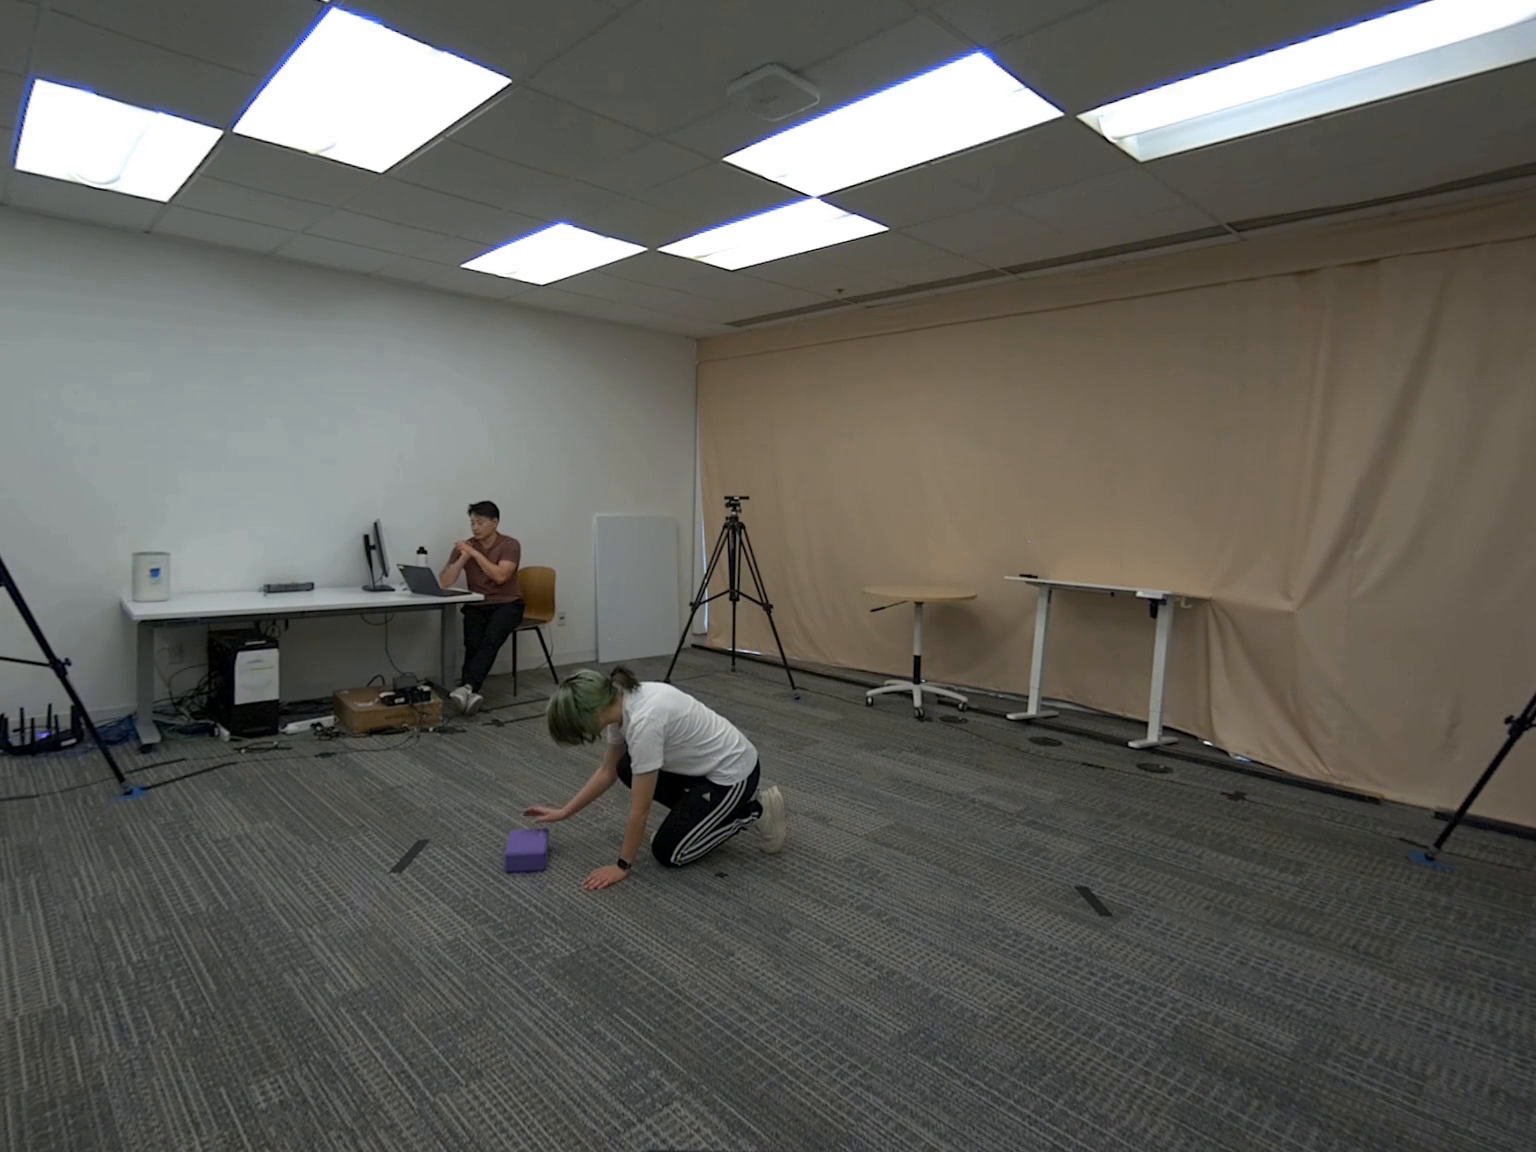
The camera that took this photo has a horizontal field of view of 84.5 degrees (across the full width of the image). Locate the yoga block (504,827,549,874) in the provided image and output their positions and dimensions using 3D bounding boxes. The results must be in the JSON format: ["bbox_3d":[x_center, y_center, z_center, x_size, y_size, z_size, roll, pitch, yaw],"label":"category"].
[{"bbox_3d":[-0.913,1.032,3.197,0.148,0.076,0.232,0,6,-12],"label":"yoga block"}]
